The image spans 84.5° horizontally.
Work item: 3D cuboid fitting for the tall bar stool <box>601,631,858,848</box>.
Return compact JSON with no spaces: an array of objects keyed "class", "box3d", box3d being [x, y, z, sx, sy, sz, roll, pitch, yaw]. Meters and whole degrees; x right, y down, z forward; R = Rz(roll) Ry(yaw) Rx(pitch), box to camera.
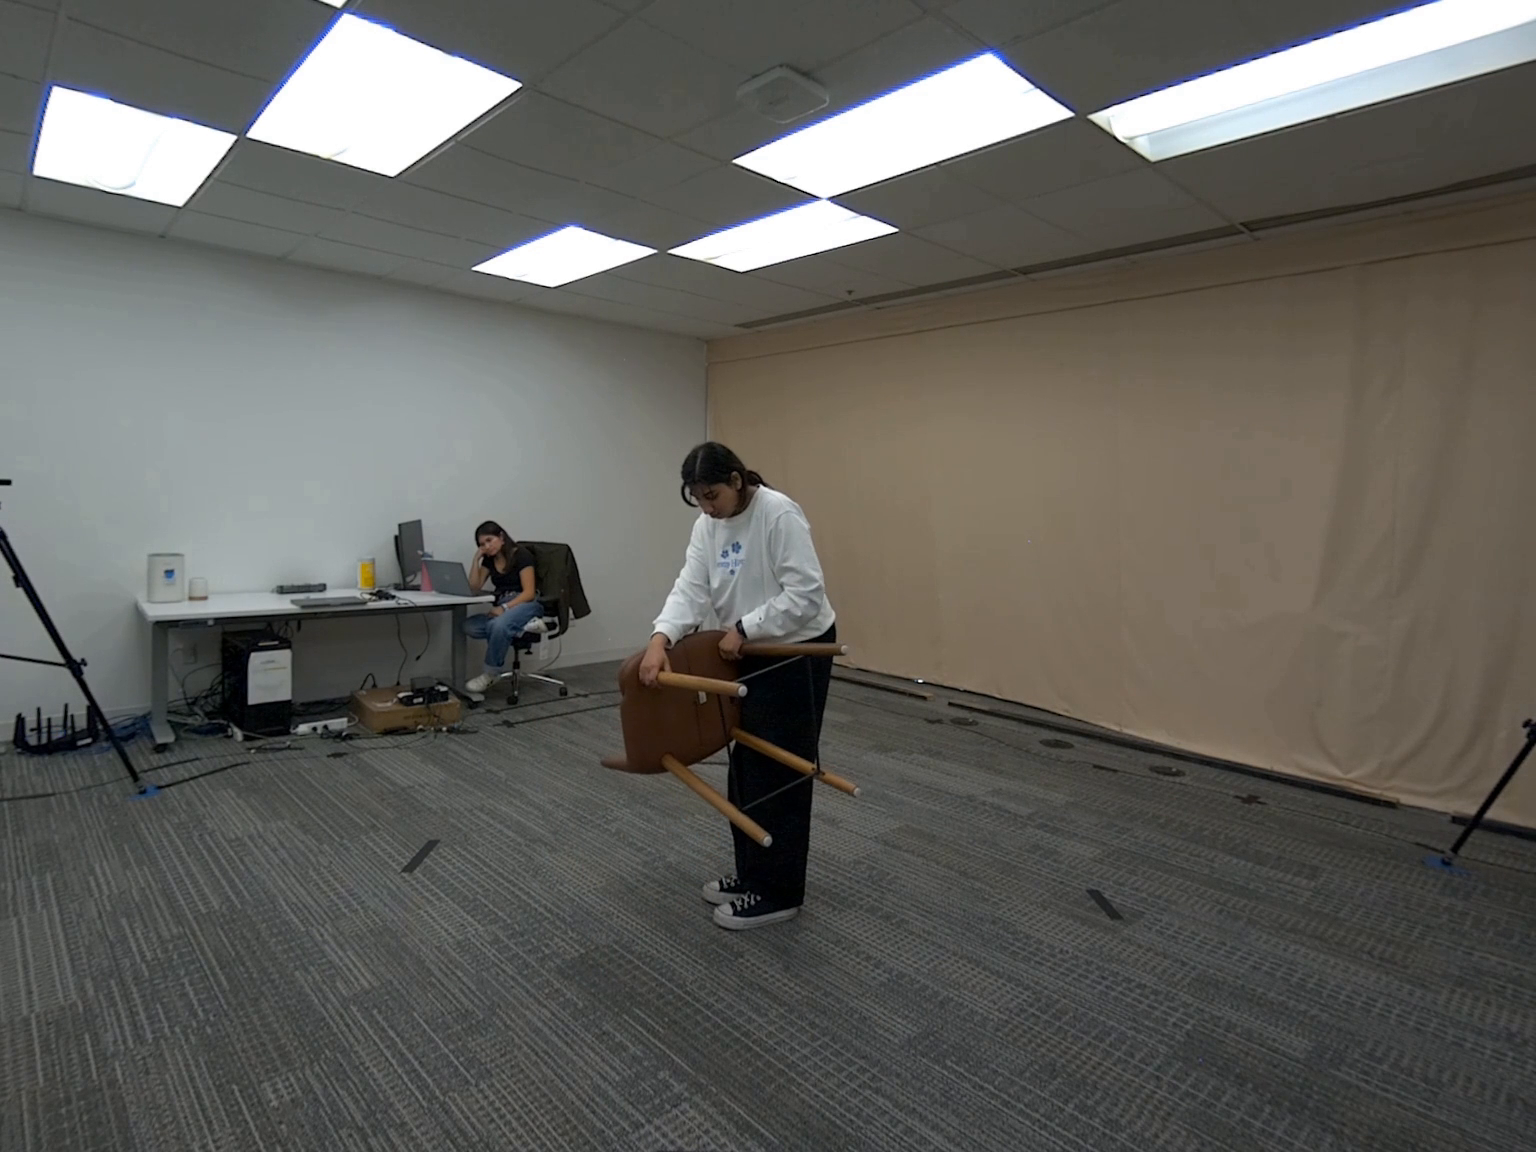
[{"class":"tall bar stool","box3d":[-0.191,0.434,2.635,0.449,0.464,0.911,-15,11,-39]}]
